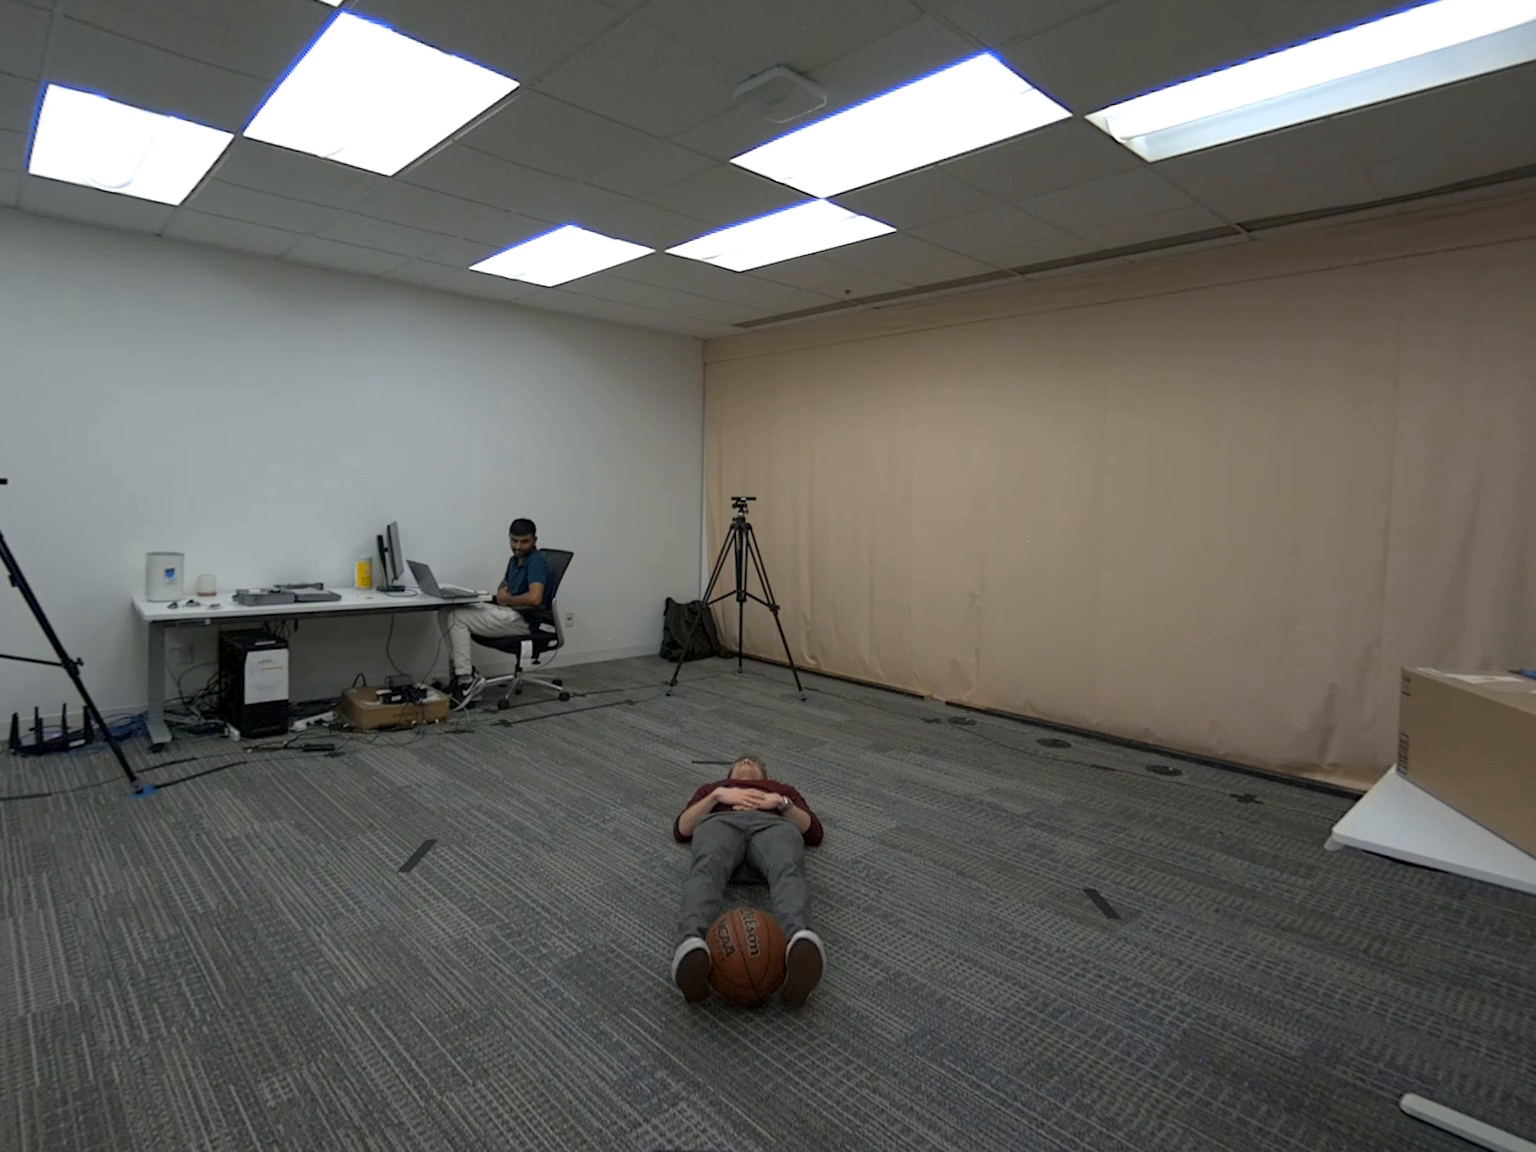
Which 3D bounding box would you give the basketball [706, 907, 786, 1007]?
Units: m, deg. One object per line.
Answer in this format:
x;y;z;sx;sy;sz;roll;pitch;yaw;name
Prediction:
-0.067;1.046;2.309;0.236;0.234;0.237;0;7;-1;basketball
